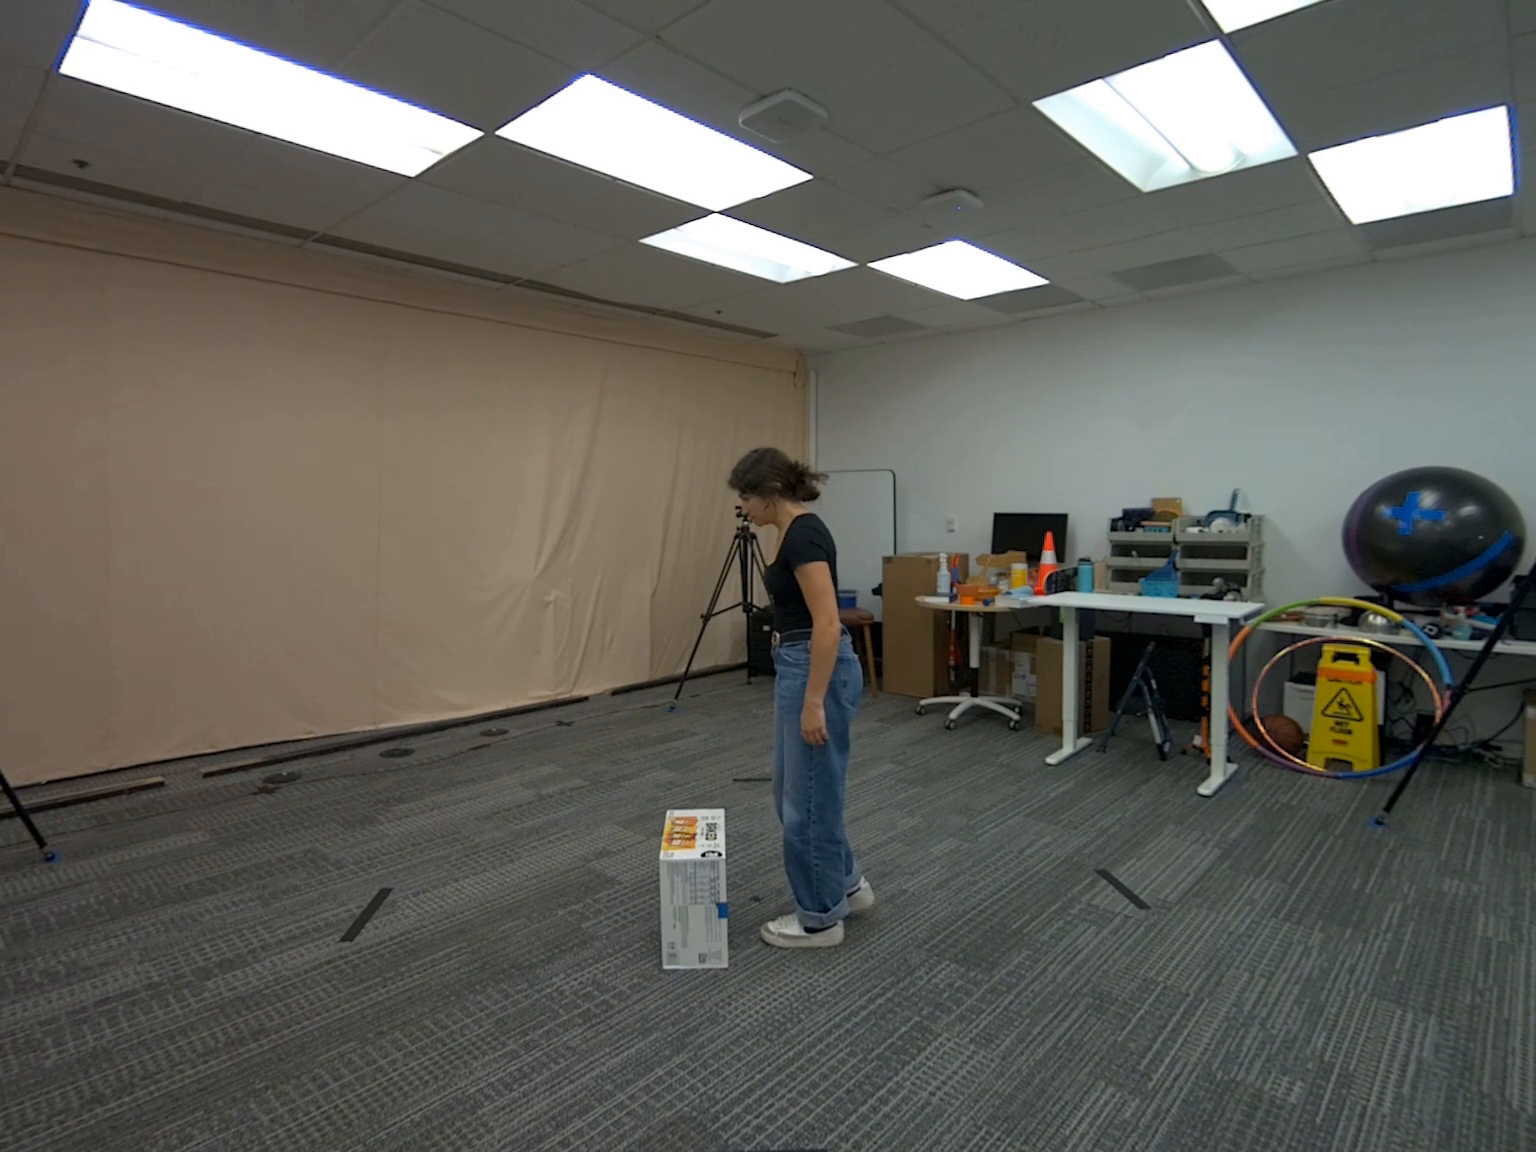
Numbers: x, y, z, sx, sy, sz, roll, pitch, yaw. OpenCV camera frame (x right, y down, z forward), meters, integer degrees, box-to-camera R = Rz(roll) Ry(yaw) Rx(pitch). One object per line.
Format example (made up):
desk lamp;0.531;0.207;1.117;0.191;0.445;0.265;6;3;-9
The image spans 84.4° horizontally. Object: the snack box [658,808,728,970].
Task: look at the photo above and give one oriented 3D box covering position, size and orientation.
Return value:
snack box;-0.240;0.997;2.731;0.205;0.339;0.407;-1;4;-3
